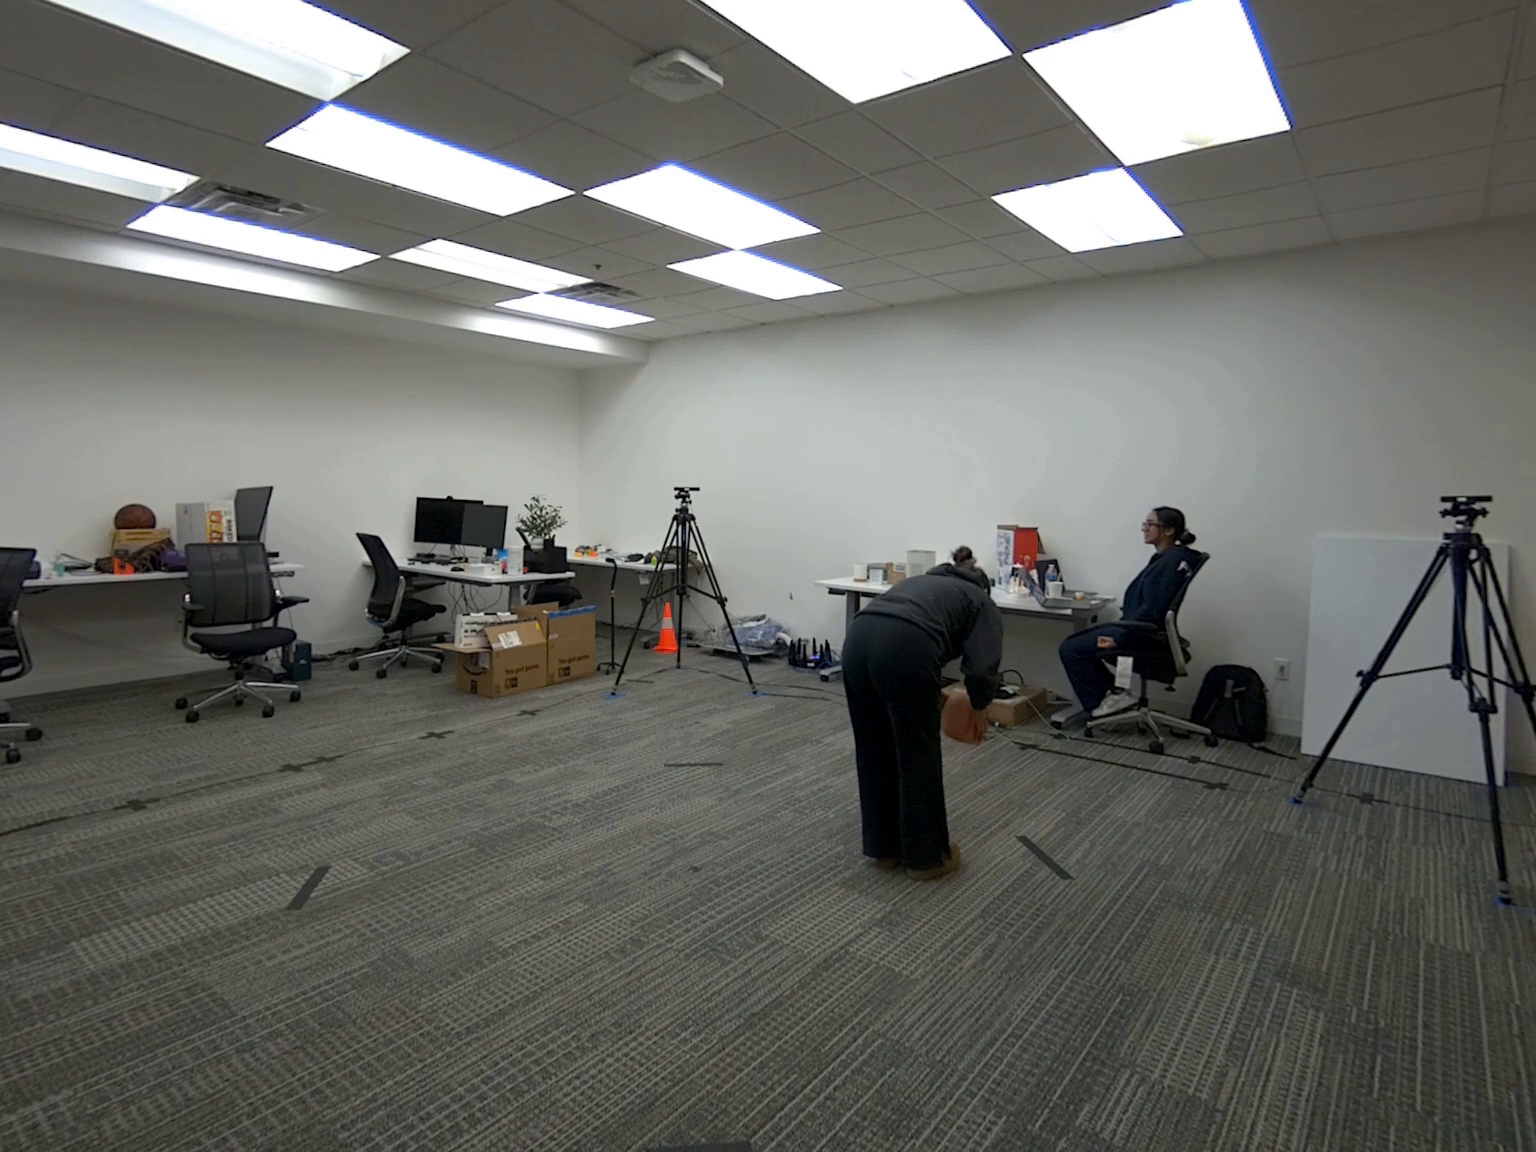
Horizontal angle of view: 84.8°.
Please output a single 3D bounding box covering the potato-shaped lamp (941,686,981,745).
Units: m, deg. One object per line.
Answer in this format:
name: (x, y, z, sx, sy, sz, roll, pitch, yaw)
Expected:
potato-shaped lamp: (0.754, 0.569, 3.329, 0.167, 0.198, 0.169, 6, 3, -25)
